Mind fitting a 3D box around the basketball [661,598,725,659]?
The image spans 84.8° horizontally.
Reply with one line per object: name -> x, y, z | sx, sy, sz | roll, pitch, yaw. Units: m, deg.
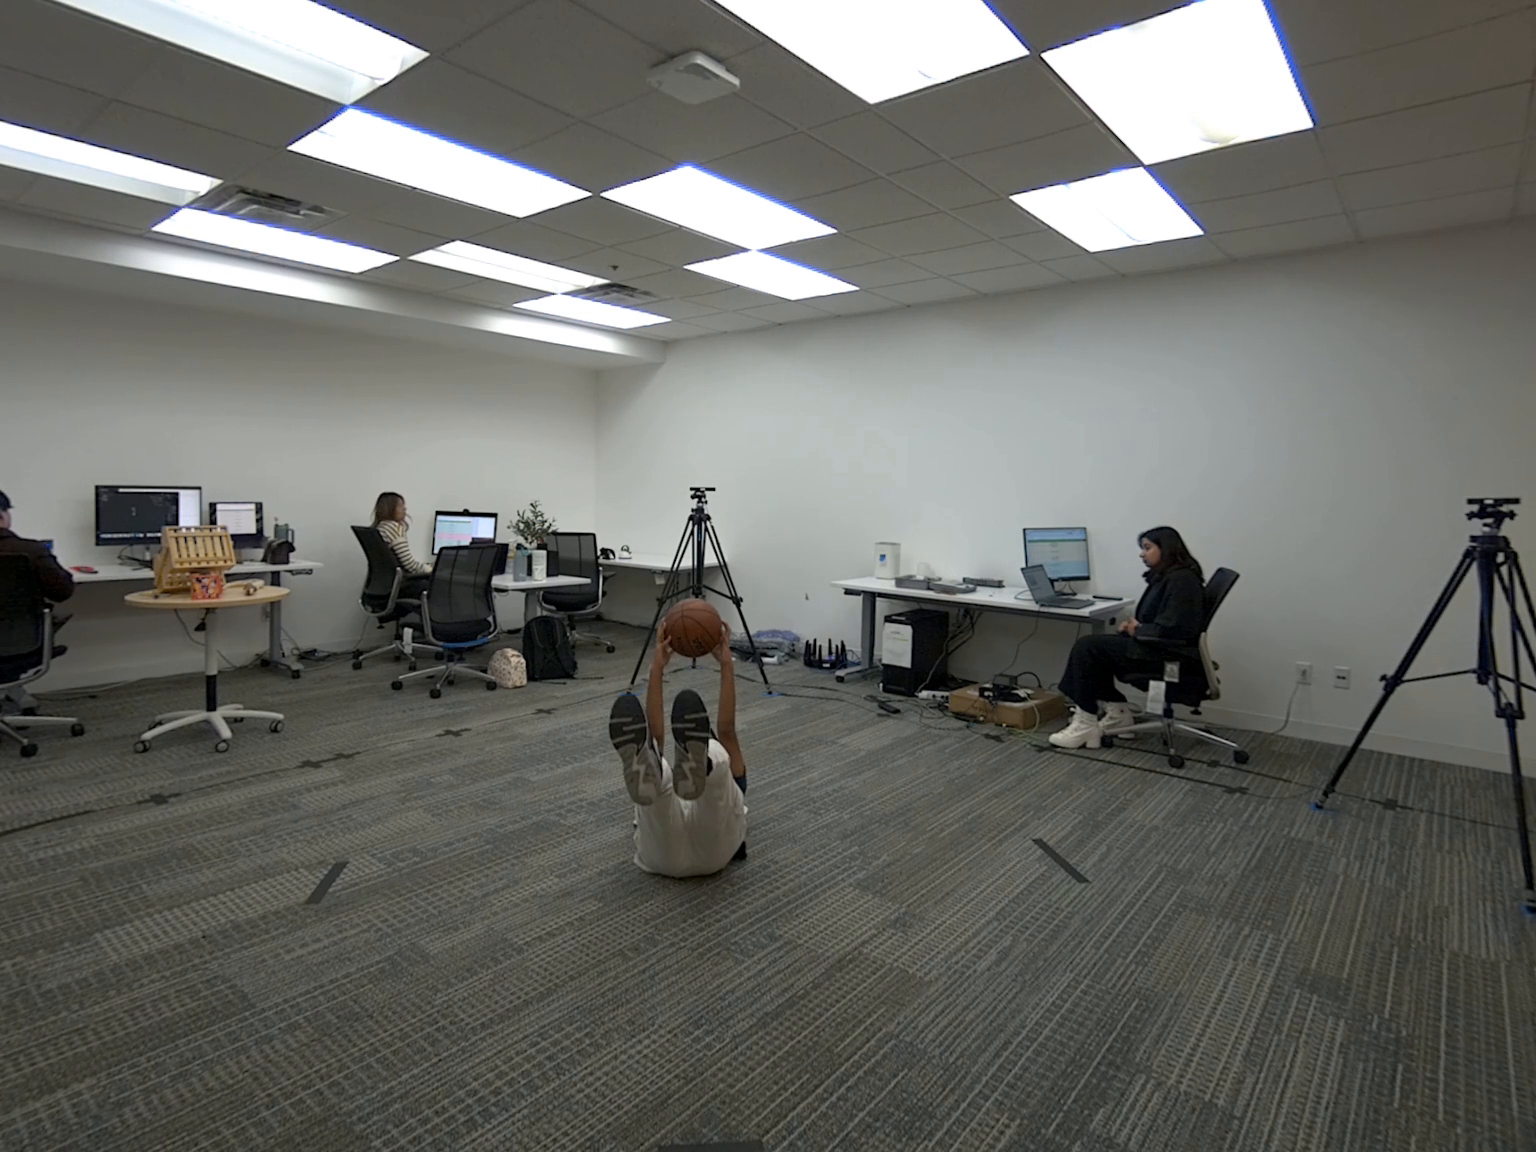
basketball -> -0.317, 0.211, 3.450 | 0.235, 0.235, 0.237 | 1, 4, -2
